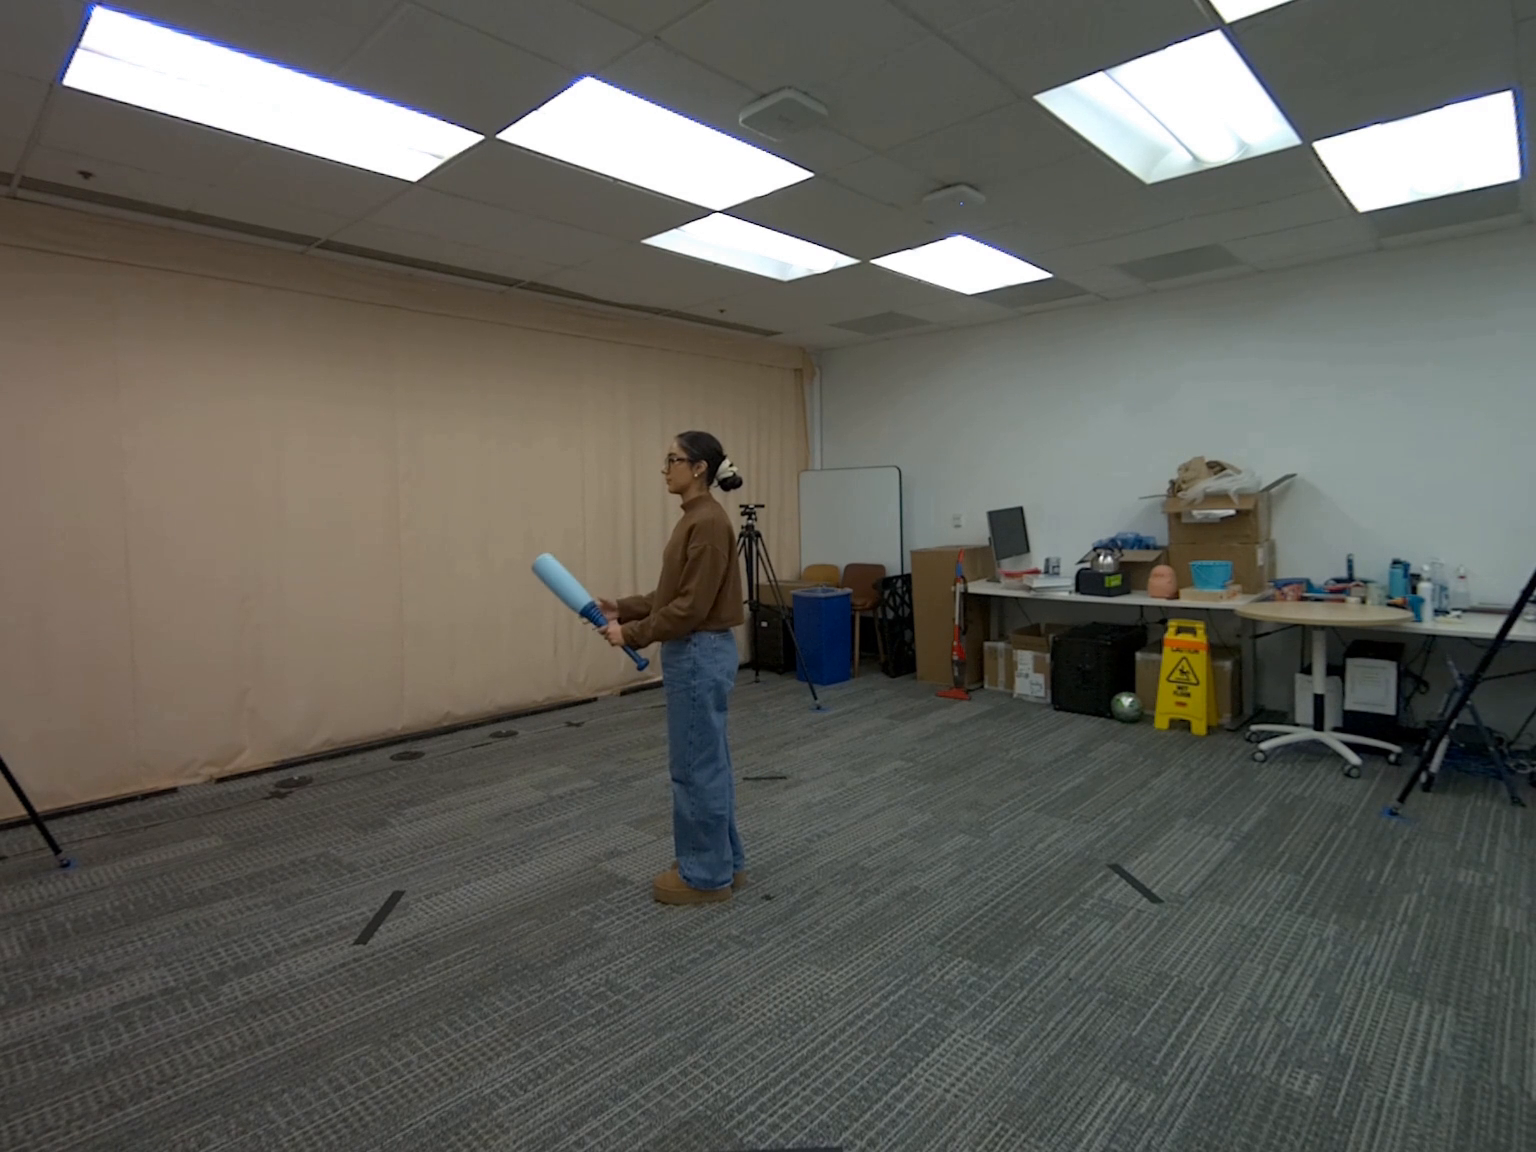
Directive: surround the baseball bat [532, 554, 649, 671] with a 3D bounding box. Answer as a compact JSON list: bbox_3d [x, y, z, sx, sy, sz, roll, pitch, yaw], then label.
[{"bbox_3d":[-0.596,0.146,2.893,0.552,0.089,0.087,42,15,13],"label":"baseball bat"}]
